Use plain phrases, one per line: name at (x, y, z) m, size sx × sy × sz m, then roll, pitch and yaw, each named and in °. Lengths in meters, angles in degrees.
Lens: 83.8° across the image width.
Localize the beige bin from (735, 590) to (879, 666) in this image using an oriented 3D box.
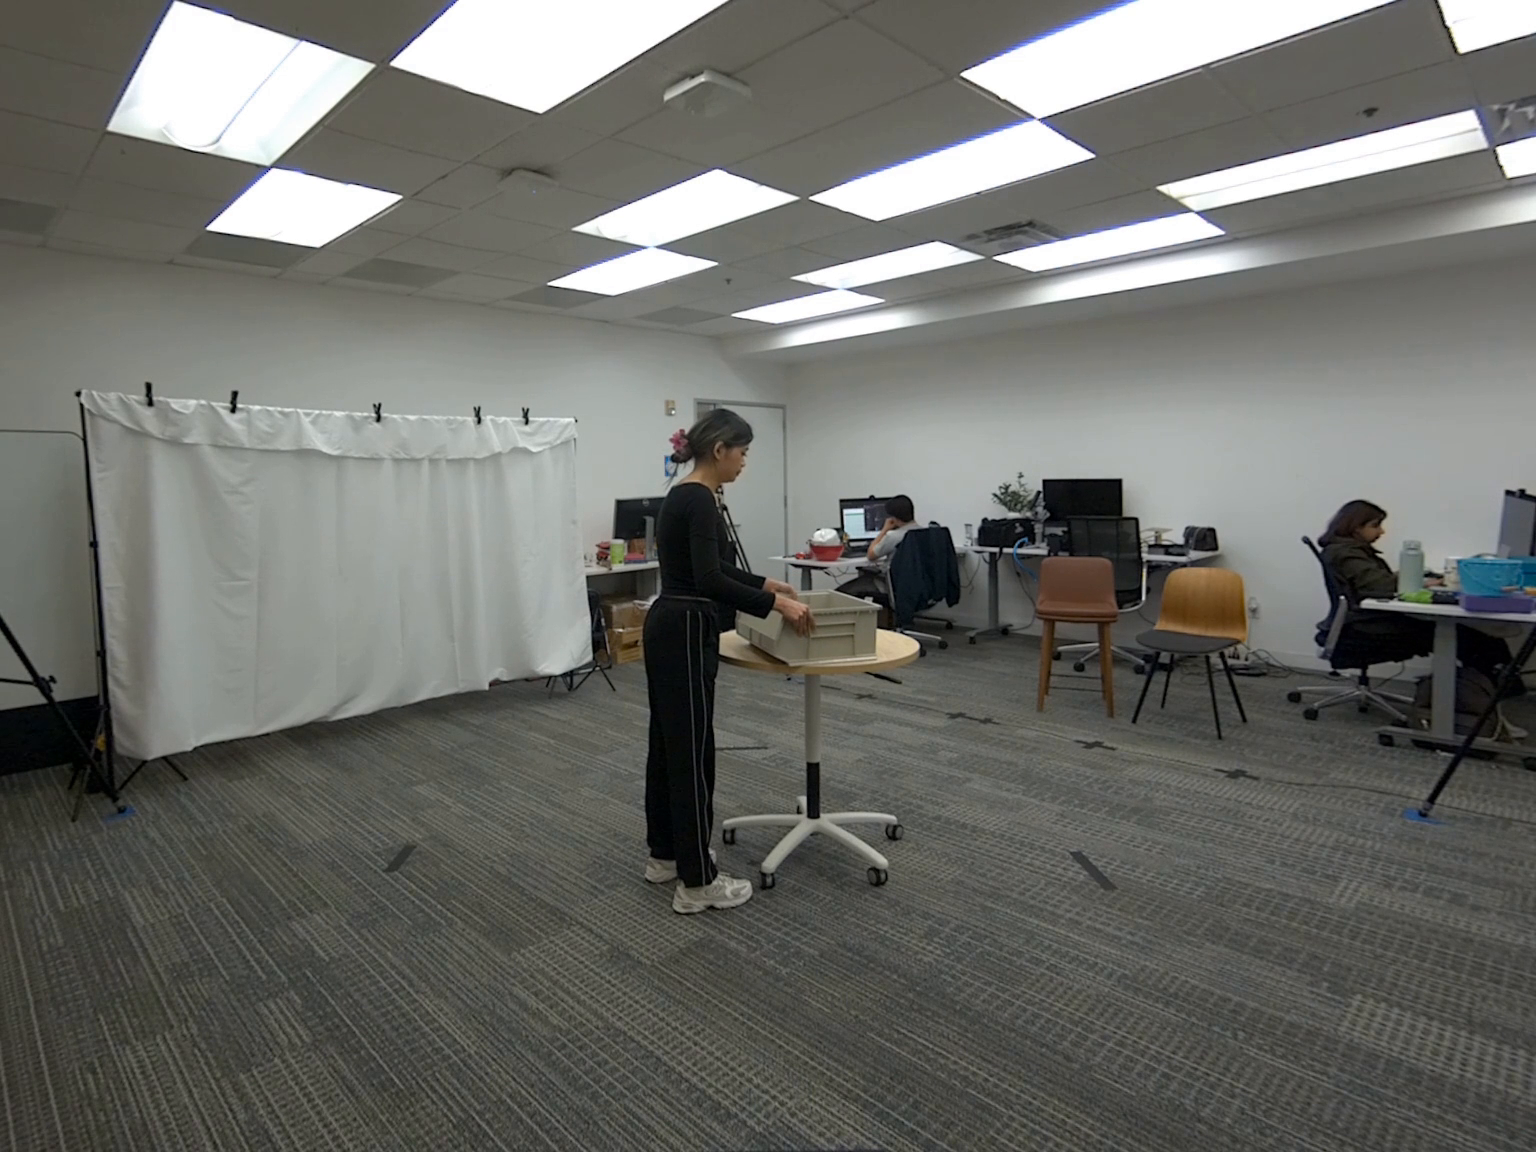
beige bin at (0.129, 0.167, 2.965) m, size 0.371 × 0.188 × 0.431 m, roll 0°, pitch 5°, yaw -18°
